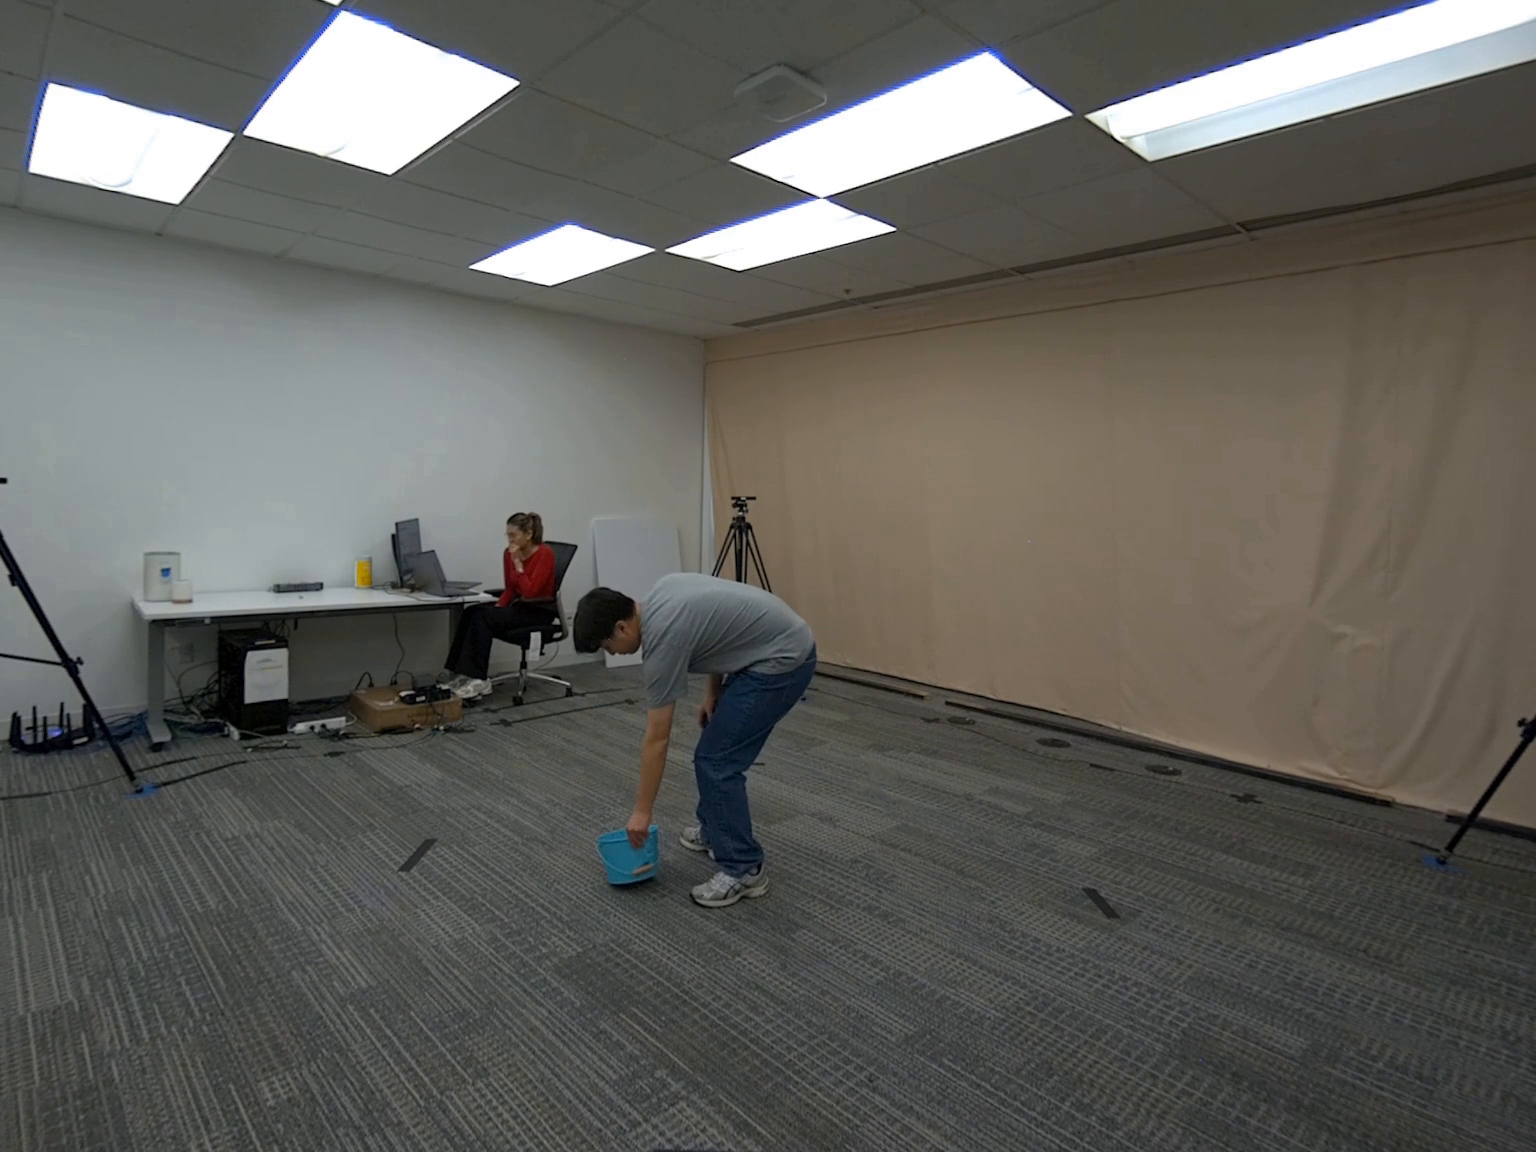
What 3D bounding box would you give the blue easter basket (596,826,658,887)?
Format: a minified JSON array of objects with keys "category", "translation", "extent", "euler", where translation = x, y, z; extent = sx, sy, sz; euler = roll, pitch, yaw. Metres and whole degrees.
[{"category":"blue easter basket","translation":[-0.507,1.008,3.032],"extent":[0.243,0.157,0.242],"euler":[-9,-7,-3]}]
